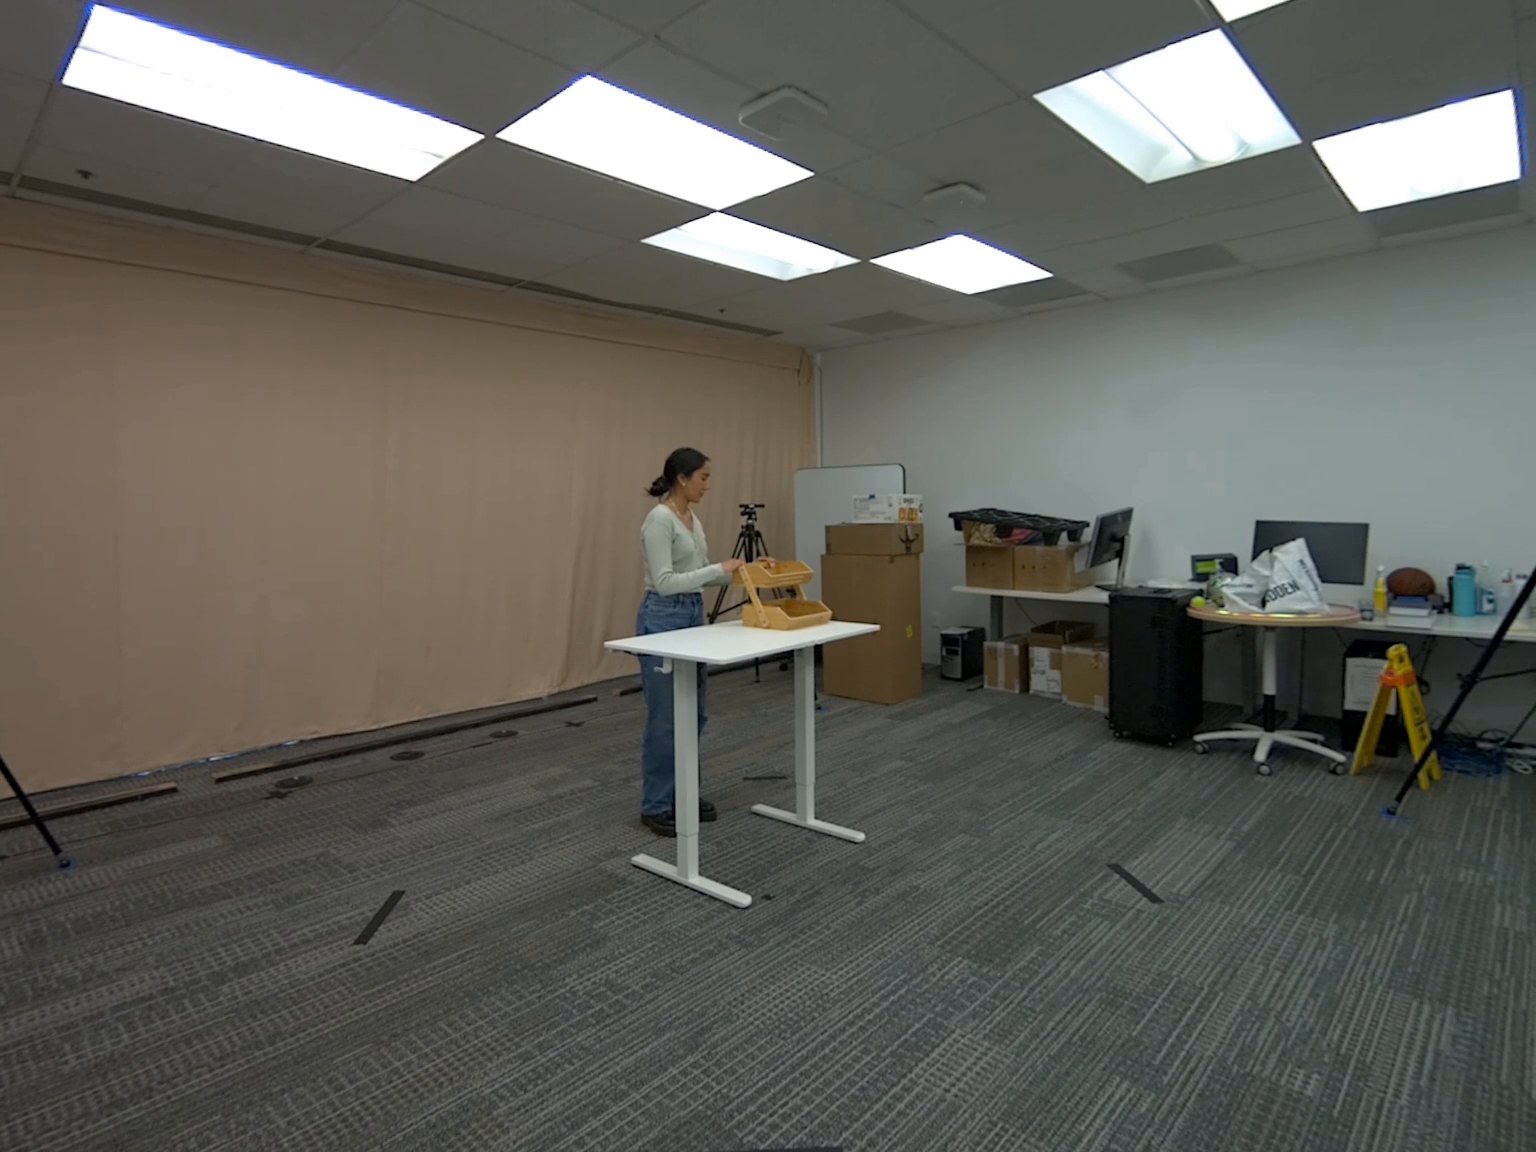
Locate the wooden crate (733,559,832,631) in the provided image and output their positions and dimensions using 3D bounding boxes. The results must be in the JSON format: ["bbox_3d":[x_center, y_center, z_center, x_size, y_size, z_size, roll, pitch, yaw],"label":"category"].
[{"bbox_3d":[0.062,0.075,3.593,0.312,0.273,0.314,2,3,40],"label":"wooden crate"}]
